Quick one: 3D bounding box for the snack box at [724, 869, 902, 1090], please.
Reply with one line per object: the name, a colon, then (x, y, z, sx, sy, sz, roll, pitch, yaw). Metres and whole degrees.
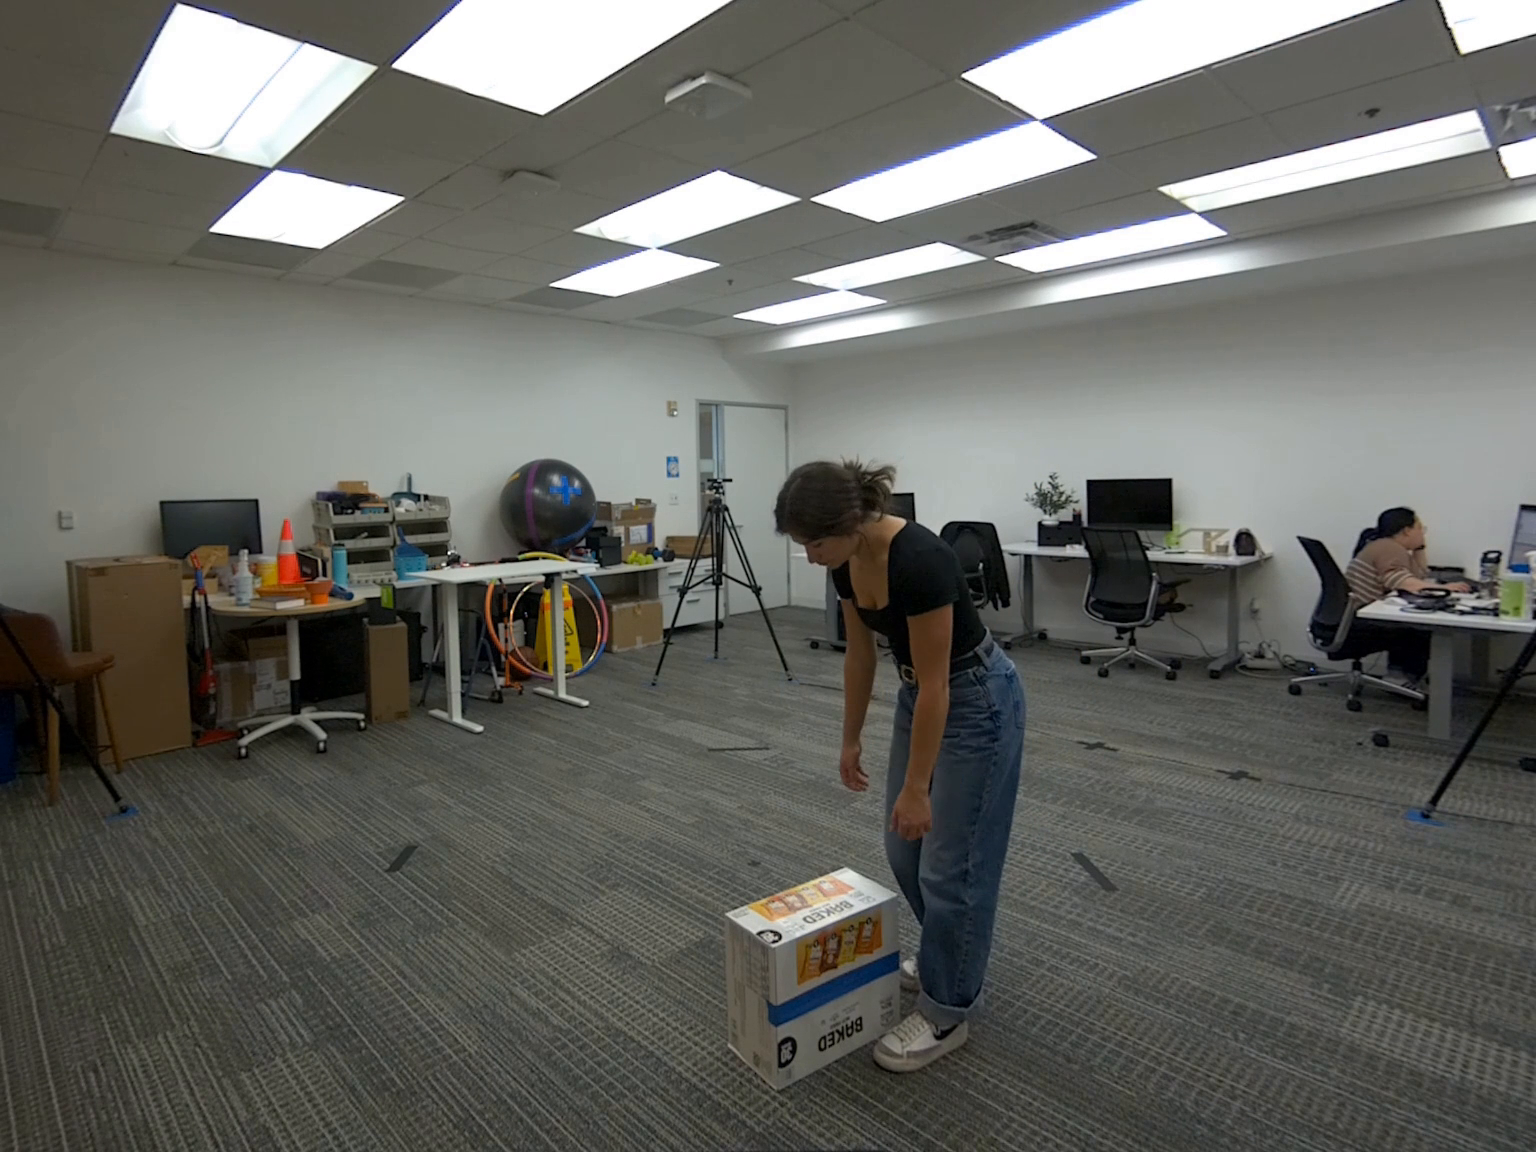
snack box: (0.124, 0.988, 2.130, 0.395, 0.339, 0.211, -5, 4, -36)
